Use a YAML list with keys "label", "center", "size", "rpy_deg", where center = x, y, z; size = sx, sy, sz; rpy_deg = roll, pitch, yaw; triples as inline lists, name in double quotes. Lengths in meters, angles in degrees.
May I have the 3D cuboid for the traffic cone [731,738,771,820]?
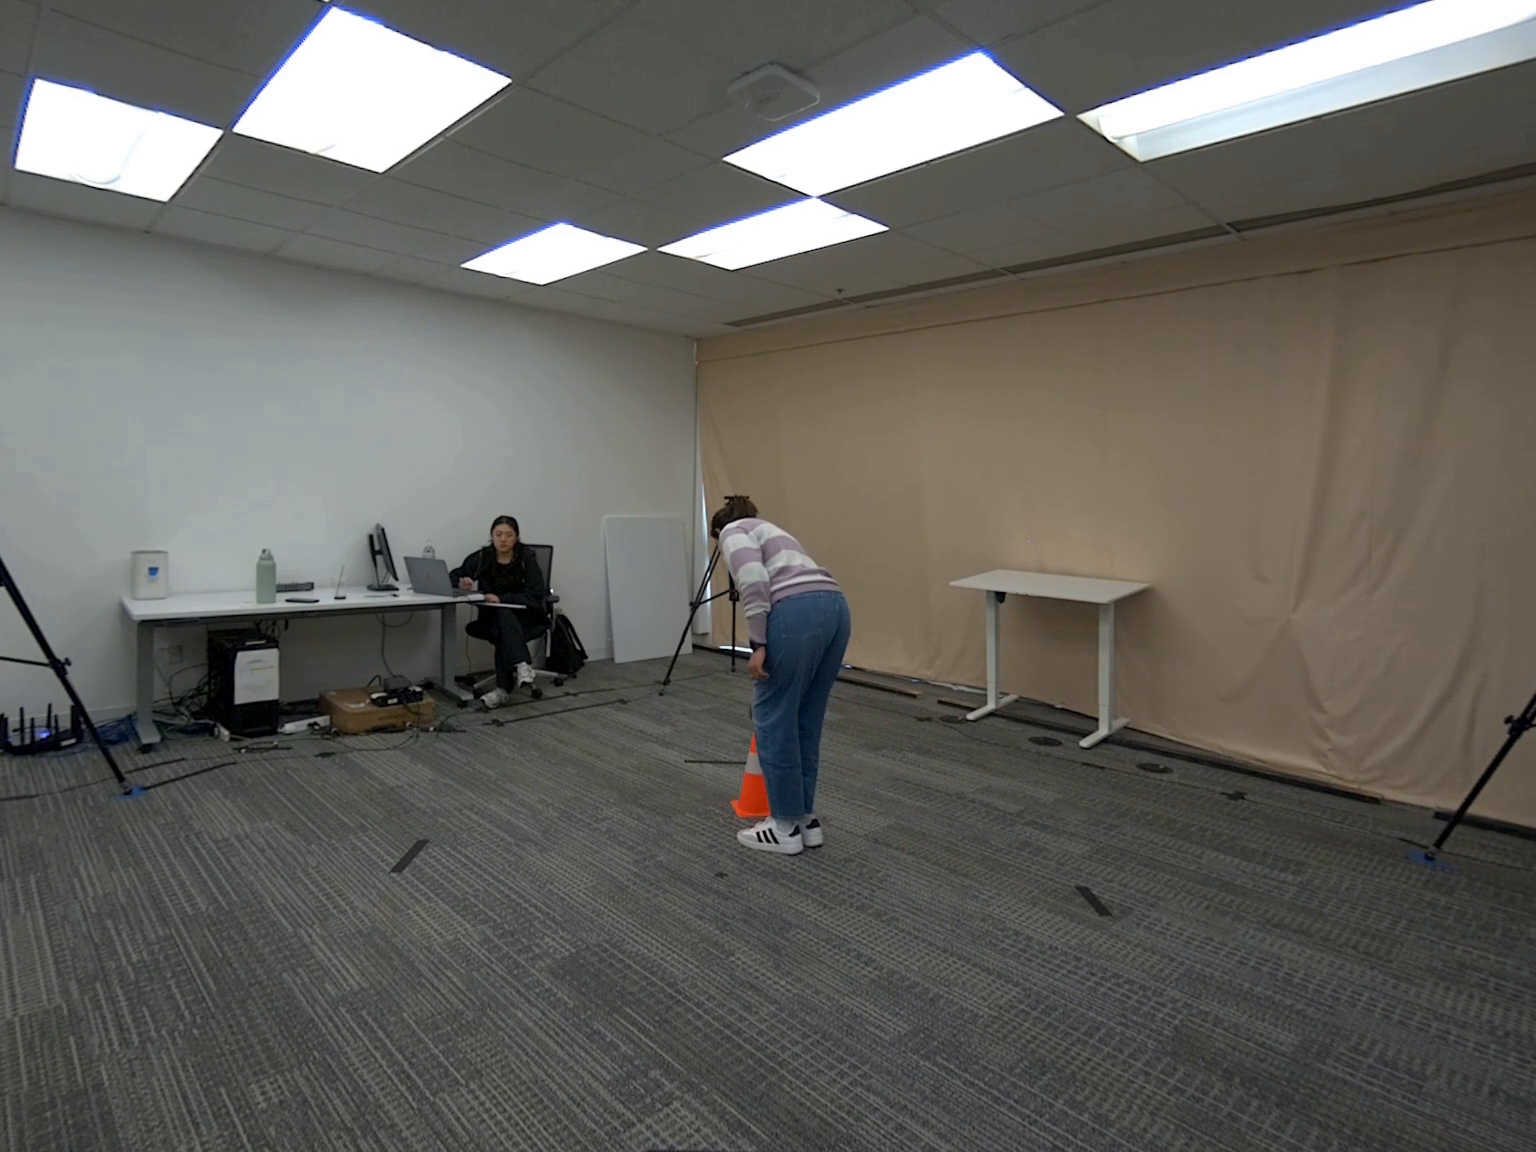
- label: "traffic cone"
  center: [-0.056, 0.861, 3.792]
  size: [0.203, 0.383, 0.206]
  rpy_deg: [3, 3, -13]
